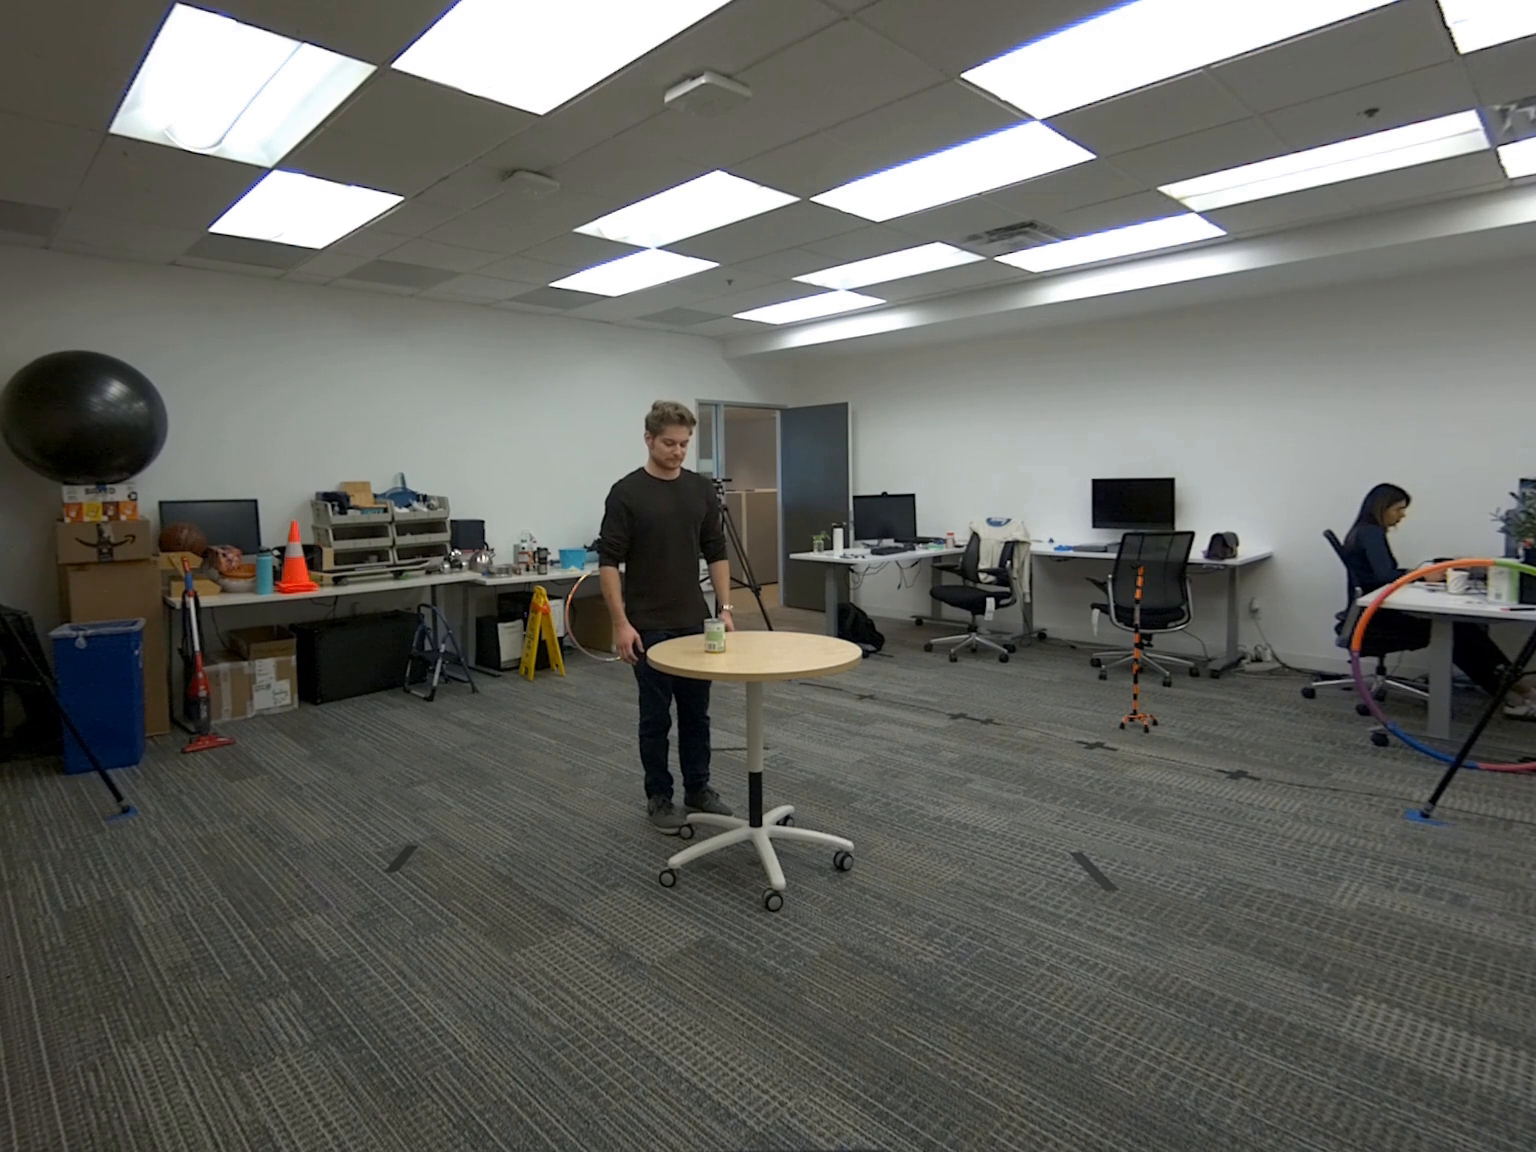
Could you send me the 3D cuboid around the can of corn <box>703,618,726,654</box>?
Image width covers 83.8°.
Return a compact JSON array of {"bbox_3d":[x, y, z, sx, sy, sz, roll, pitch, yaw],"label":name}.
[{"bbox_3d":[-0.188,0.214,3.033,0.074,0.110,0.074,-1,4,-2],"label":"can of corn"}]
